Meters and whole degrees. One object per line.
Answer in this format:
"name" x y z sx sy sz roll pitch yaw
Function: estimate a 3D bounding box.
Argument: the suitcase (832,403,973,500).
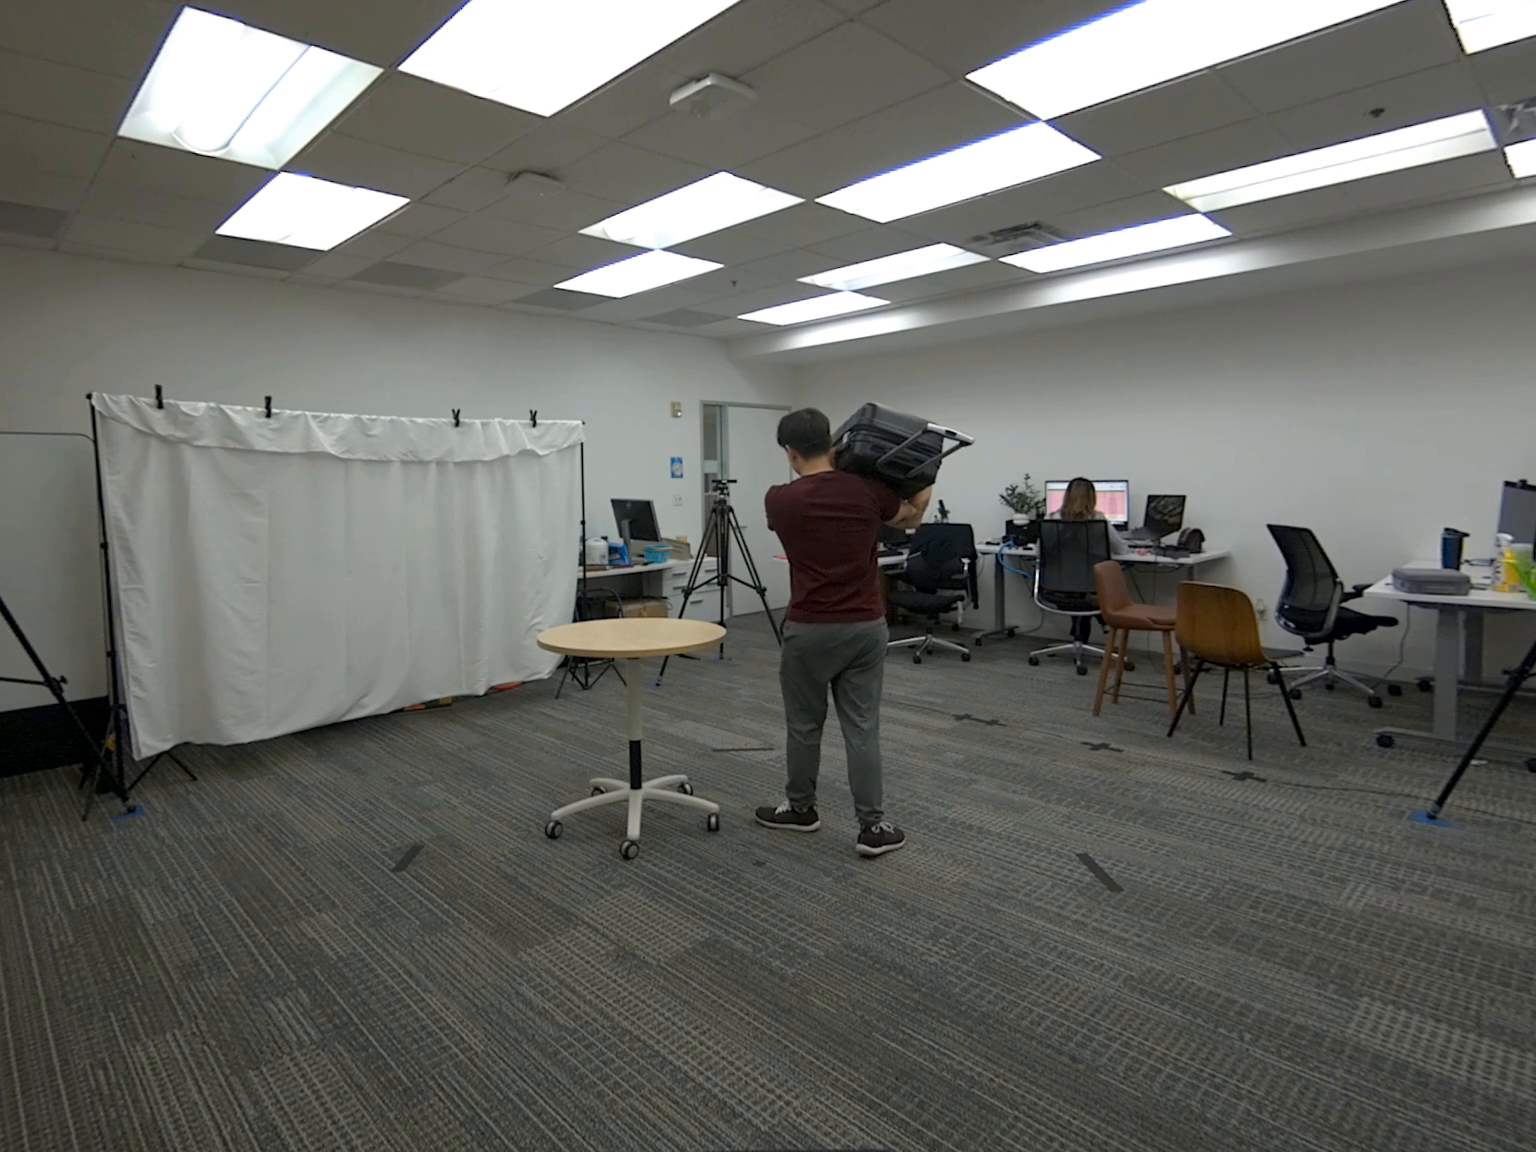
"suitcase" 0.489 -0.492 3.174 0.380 0.259 0.981 19 -11 -9
